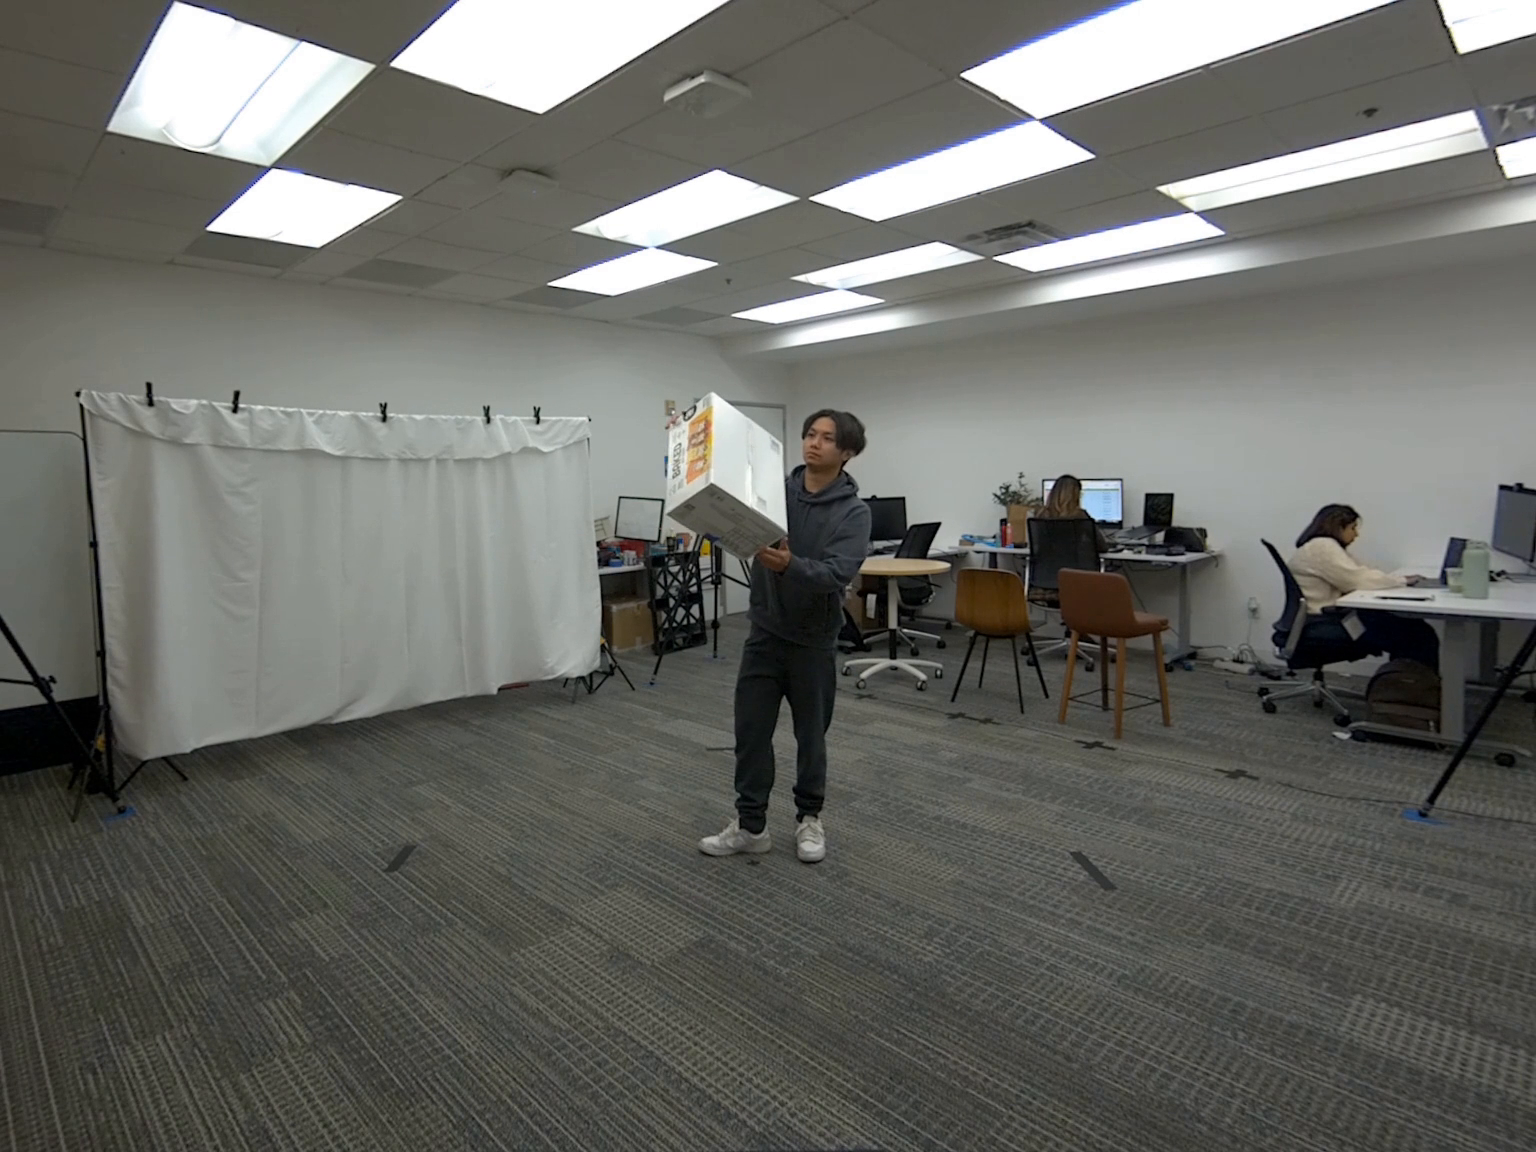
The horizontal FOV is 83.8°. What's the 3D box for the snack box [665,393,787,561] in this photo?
[{"bbox_3d":[-0.132,-0.317,2.756,0.207,0.416,0.328,-33,-48,32],"label":"snack box"}]
